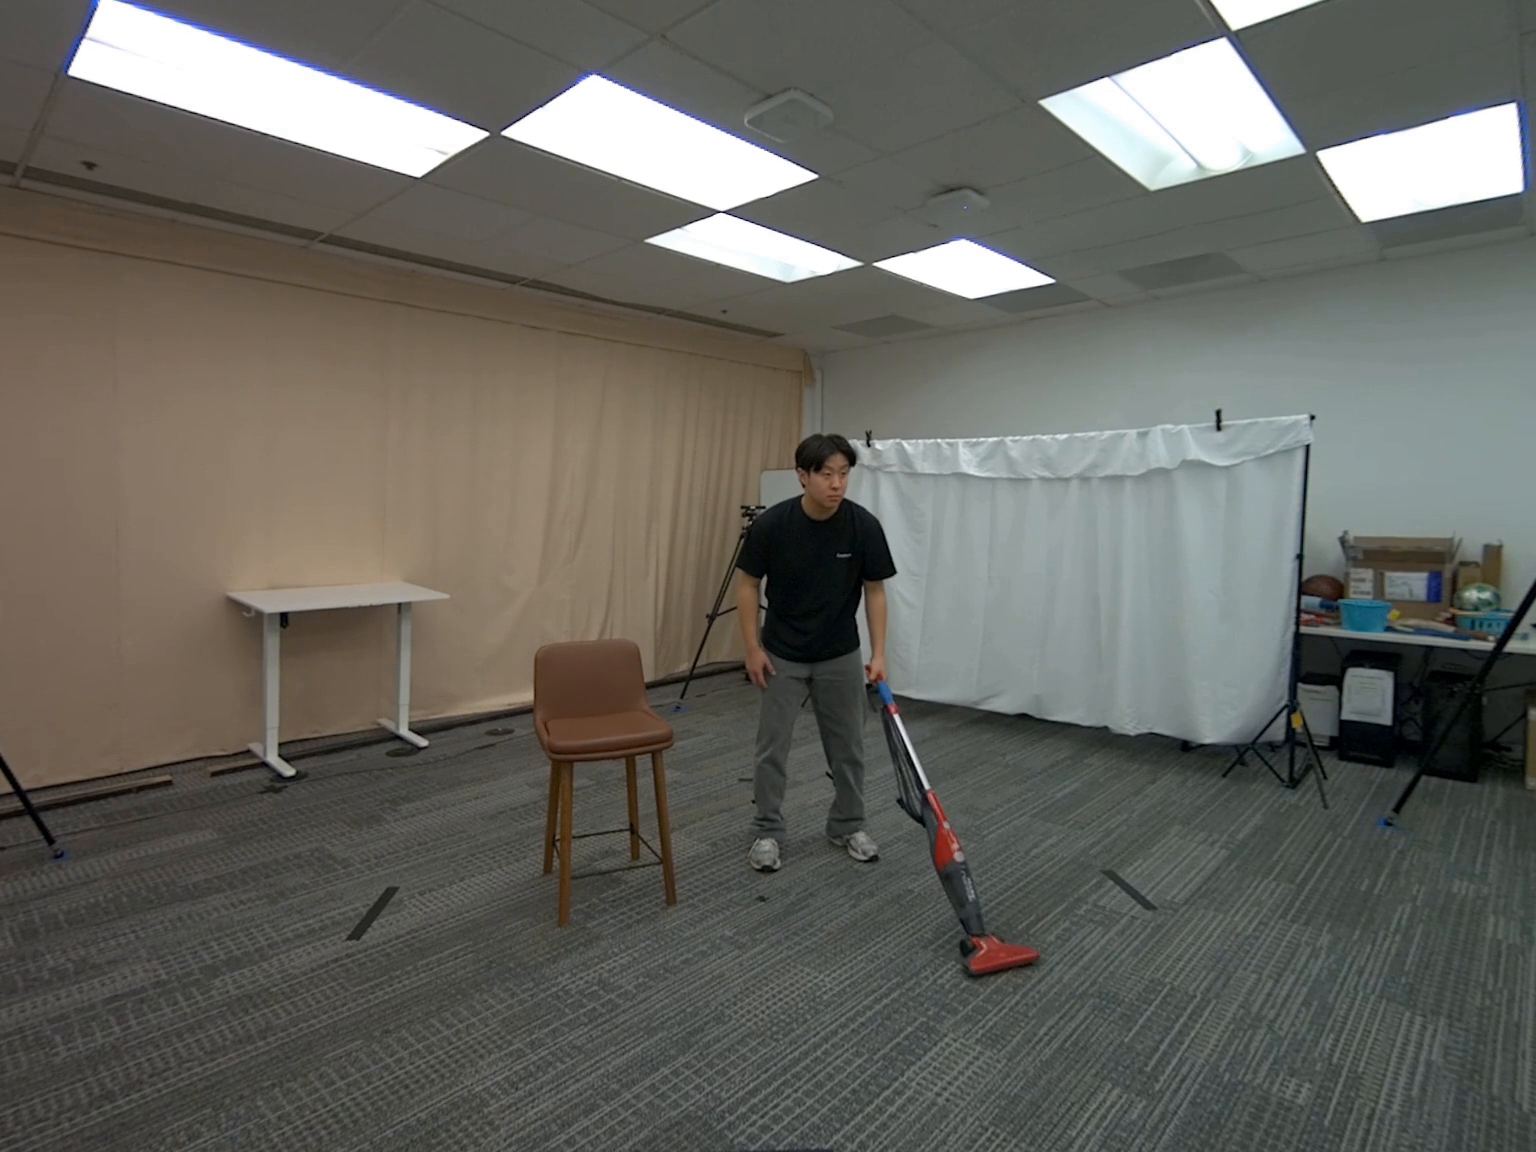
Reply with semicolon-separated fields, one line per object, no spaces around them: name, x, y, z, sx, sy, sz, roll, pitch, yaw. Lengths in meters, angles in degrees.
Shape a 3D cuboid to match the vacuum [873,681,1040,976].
vacuum;0.543;0.768;2.882;0.245;1.079;0.144;9;-46;-32
